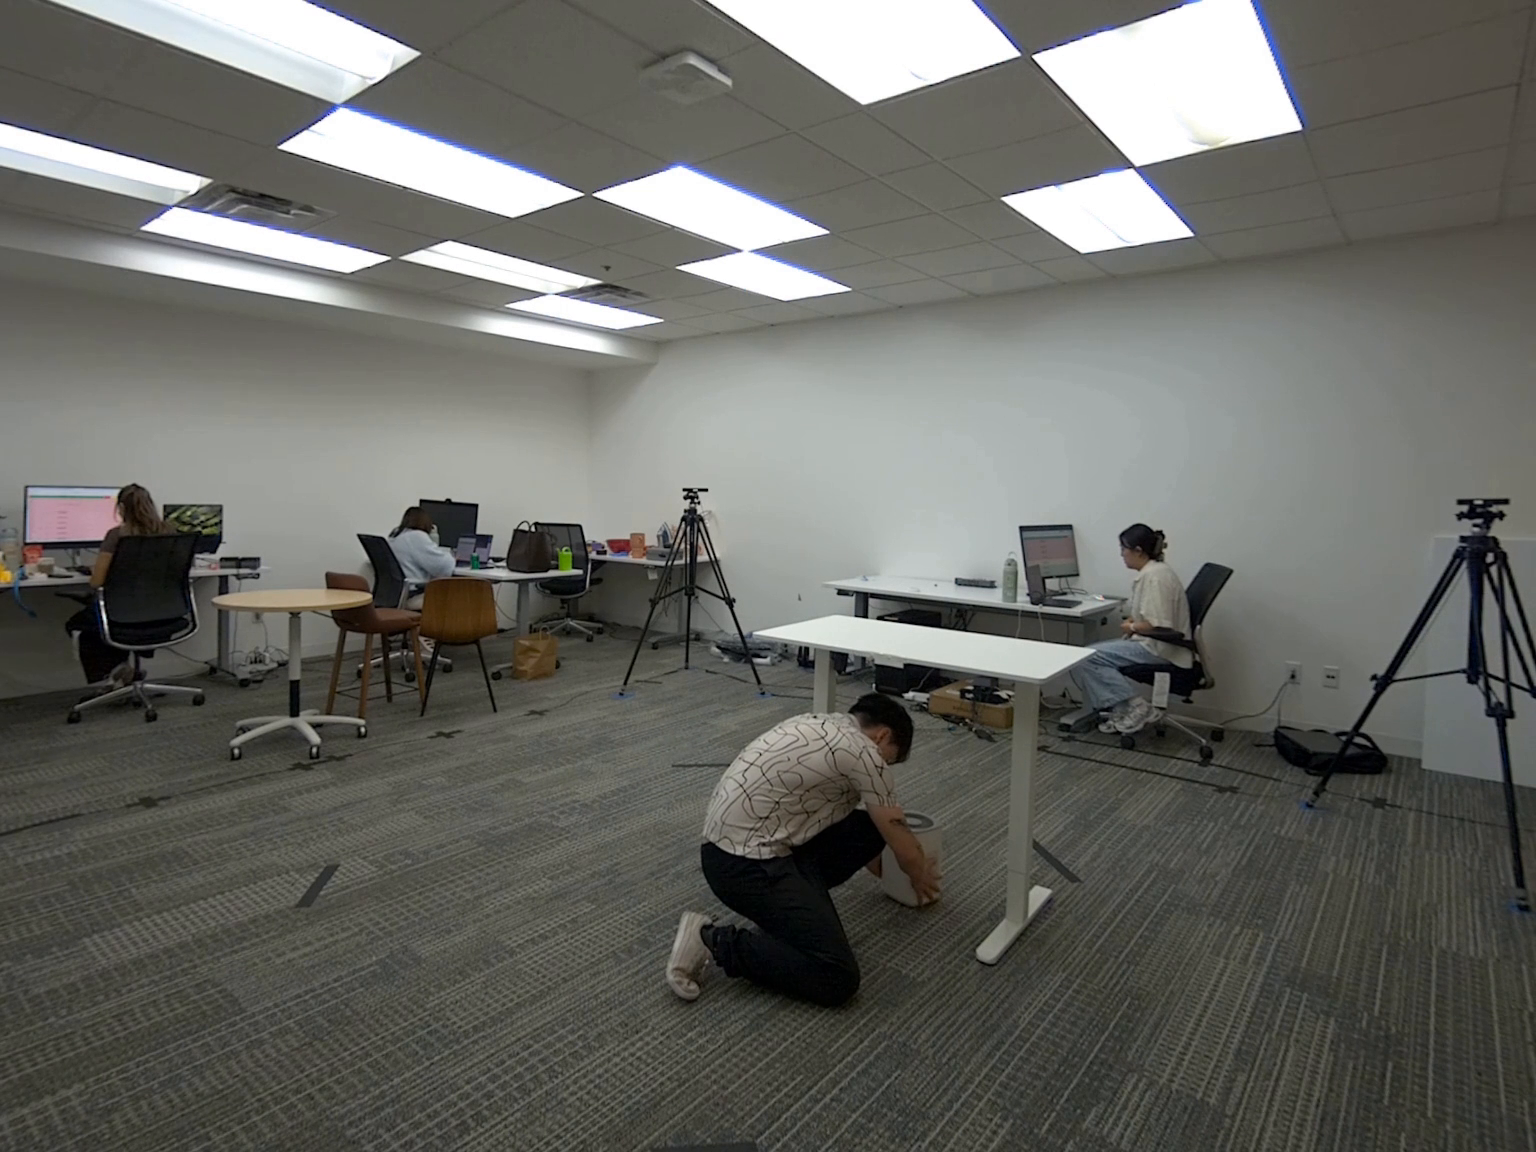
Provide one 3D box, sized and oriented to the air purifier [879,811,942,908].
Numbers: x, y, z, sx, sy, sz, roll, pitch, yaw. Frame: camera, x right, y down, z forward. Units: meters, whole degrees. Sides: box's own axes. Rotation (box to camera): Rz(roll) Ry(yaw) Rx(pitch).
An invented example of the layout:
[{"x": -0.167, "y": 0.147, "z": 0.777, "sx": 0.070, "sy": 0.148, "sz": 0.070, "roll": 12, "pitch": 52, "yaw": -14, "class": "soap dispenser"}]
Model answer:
[{"x": 0.492, "y": 0.974, "z": 2.931, "sx": 0.166, "sy": 0.264, "sz": 0.177, "roll": -2, "pitch": 6, "yaw": -38, "class": "air purifier"}]
